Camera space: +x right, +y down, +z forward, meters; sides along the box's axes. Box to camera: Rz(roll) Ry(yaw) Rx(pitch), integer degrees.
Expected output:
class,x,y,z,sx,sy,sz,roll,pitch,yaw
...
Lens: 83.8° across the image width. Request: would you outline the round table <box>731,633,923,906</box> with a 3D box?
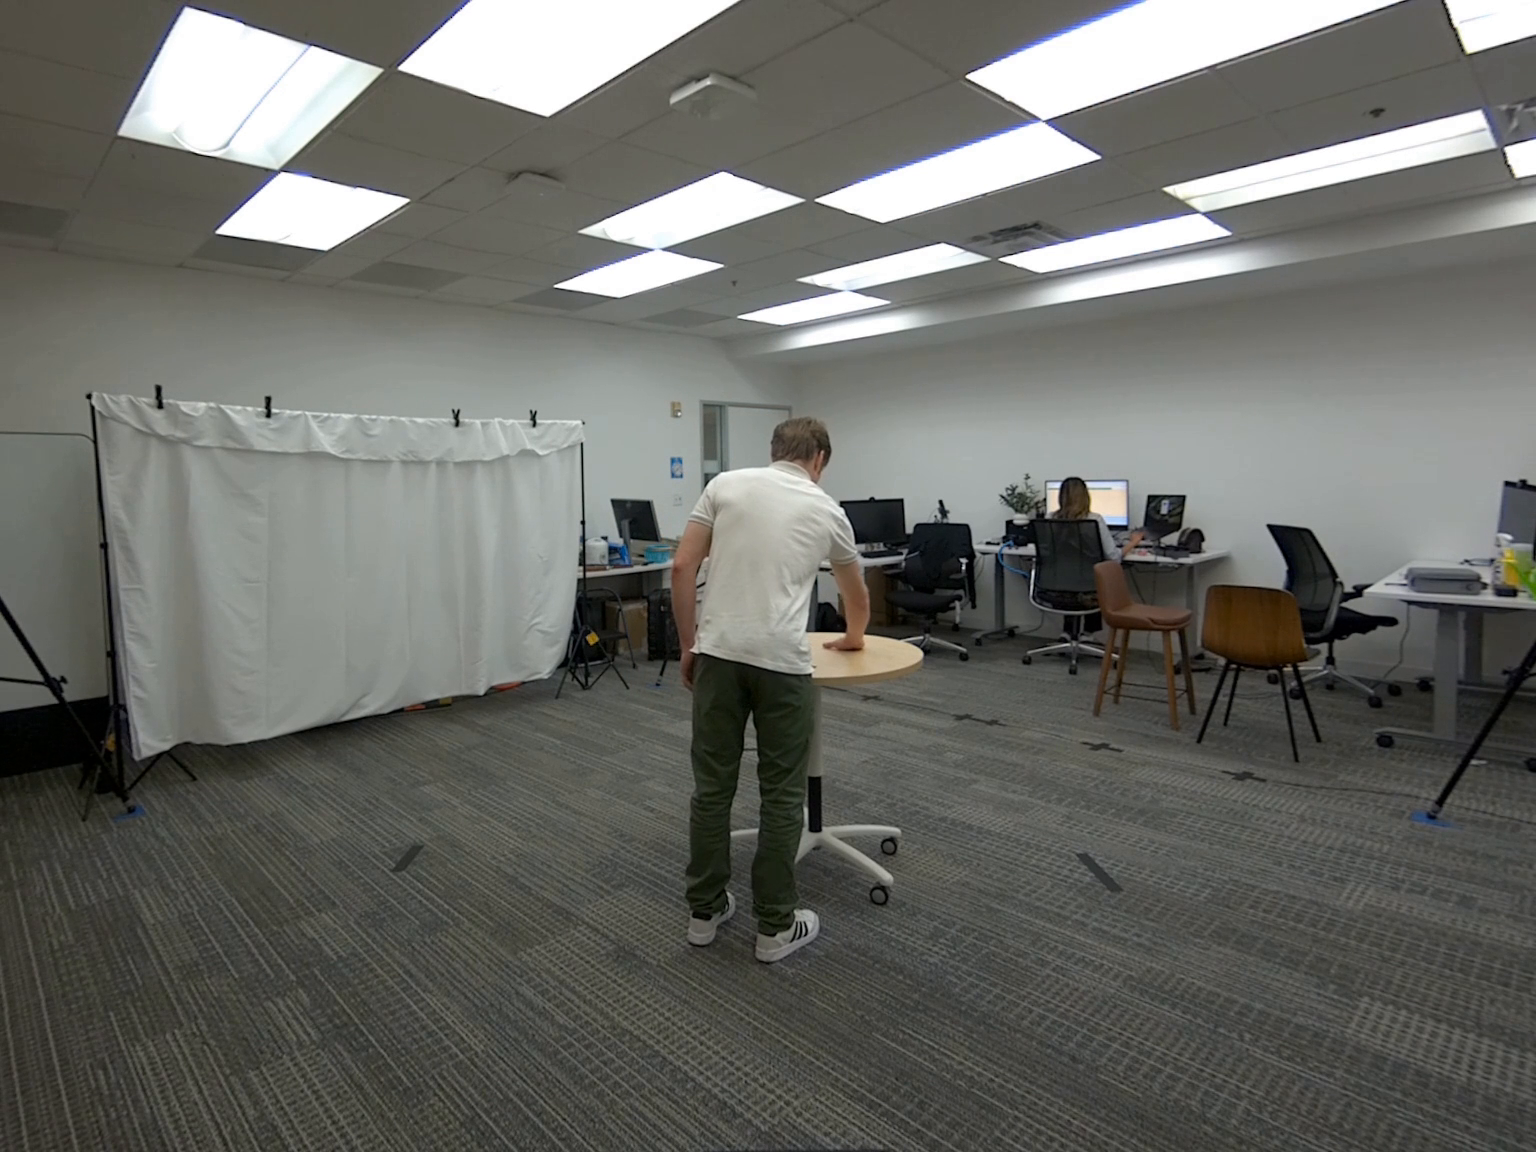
class,x,y,z,sx,sy,sz,roll,pitch,yaw
round table,0.182,0.656,3.045,0.784,0.783,0.789,-2,5,-2
